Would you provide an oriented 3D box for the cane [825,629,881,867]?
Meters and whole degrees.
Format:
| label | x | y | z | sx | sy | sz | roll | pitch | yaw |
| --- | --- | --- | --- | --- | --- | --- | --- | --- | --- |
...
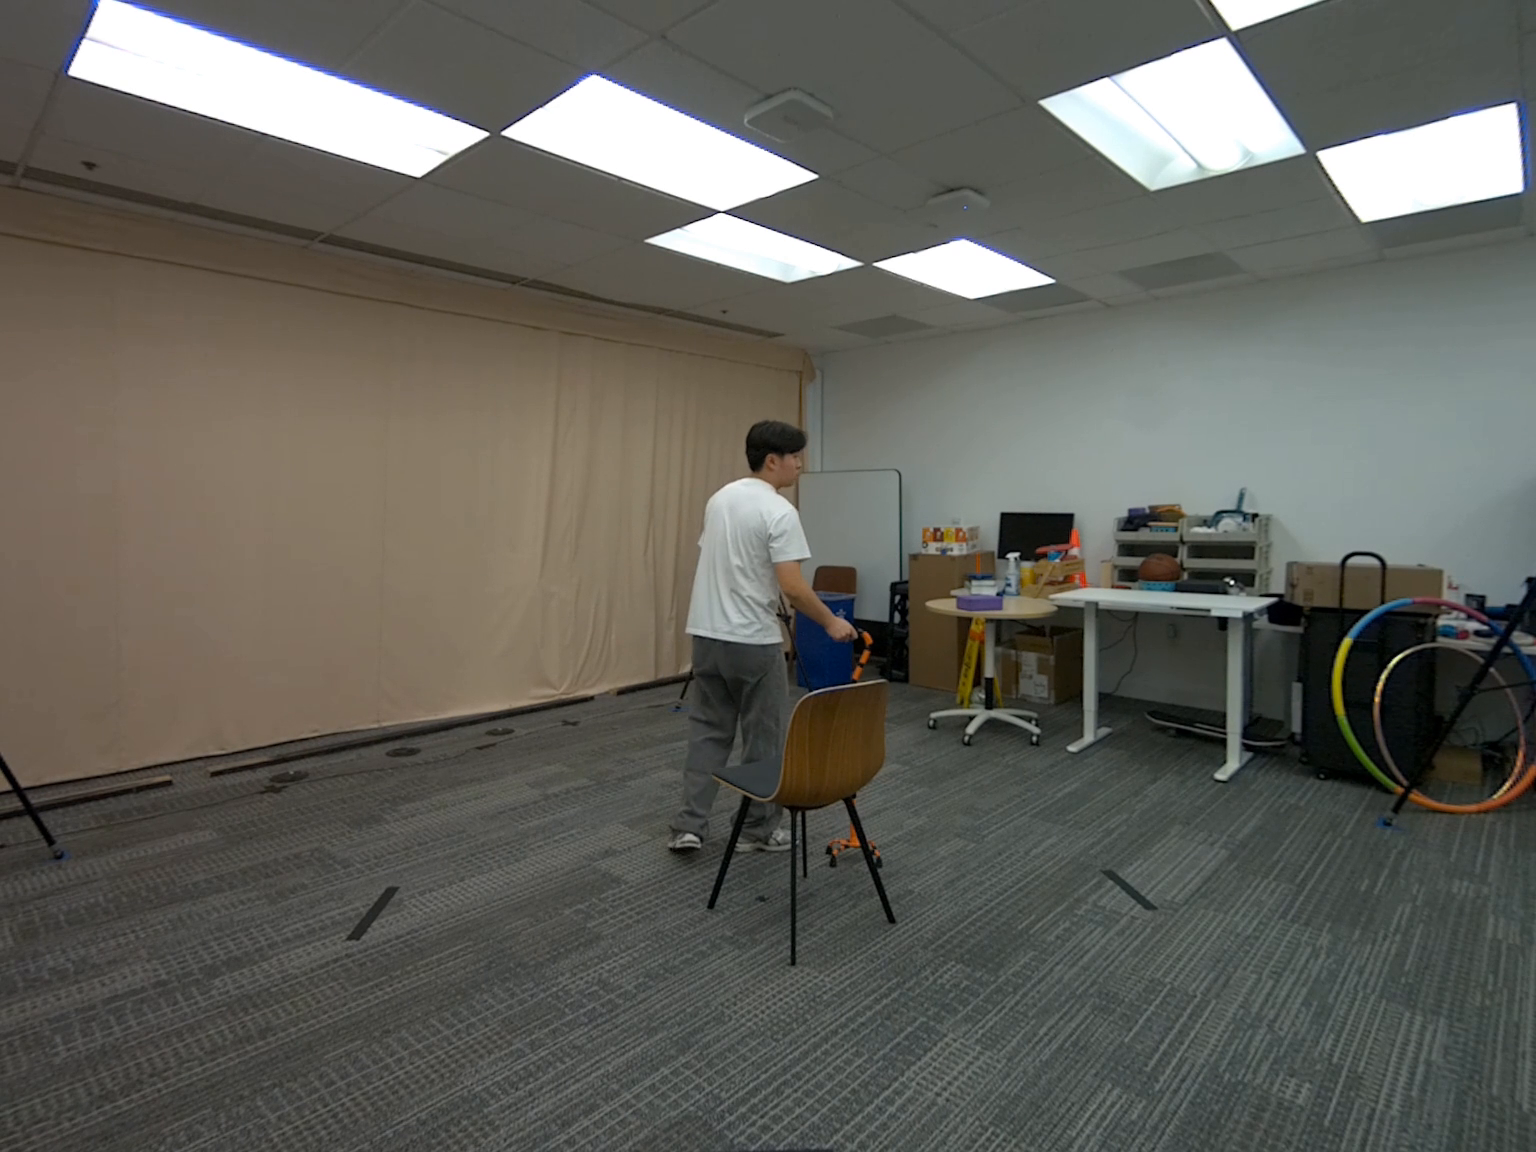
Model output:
| label | x | y | z | sx | sy | sz | roll | pitch | yaw |
| --- | --- | --- | --- | --- | --- | --- | --- | --- | --- |
| cane | 0.353 | 0.662 | 3.308 | 0.206 | 0.908 | 0.152 | 1 | 0 | -2 |
